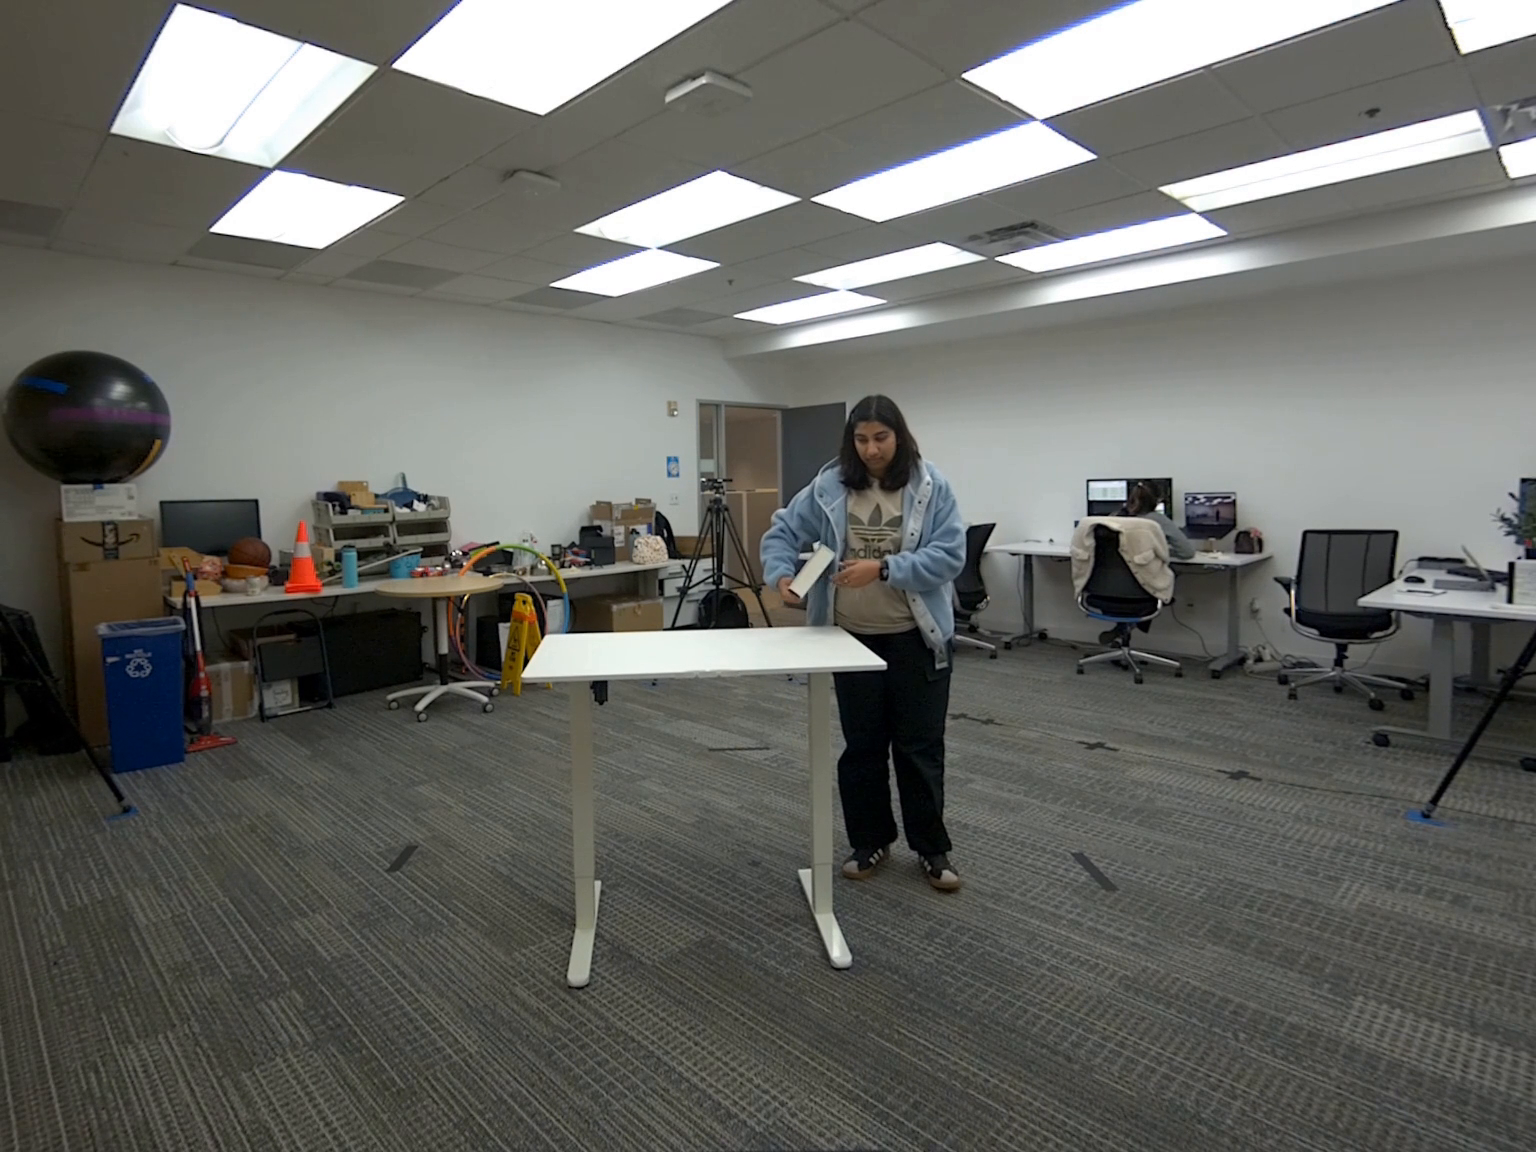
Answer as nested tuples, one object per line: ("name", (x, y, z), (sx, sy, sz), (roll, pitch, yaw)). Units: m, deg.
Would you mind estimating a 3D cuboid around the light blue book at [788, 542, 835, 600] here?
("light blue book", (0.151, -0.019, 2.948), (0.059, 0.191, 0.259), (34, -2, 3))
